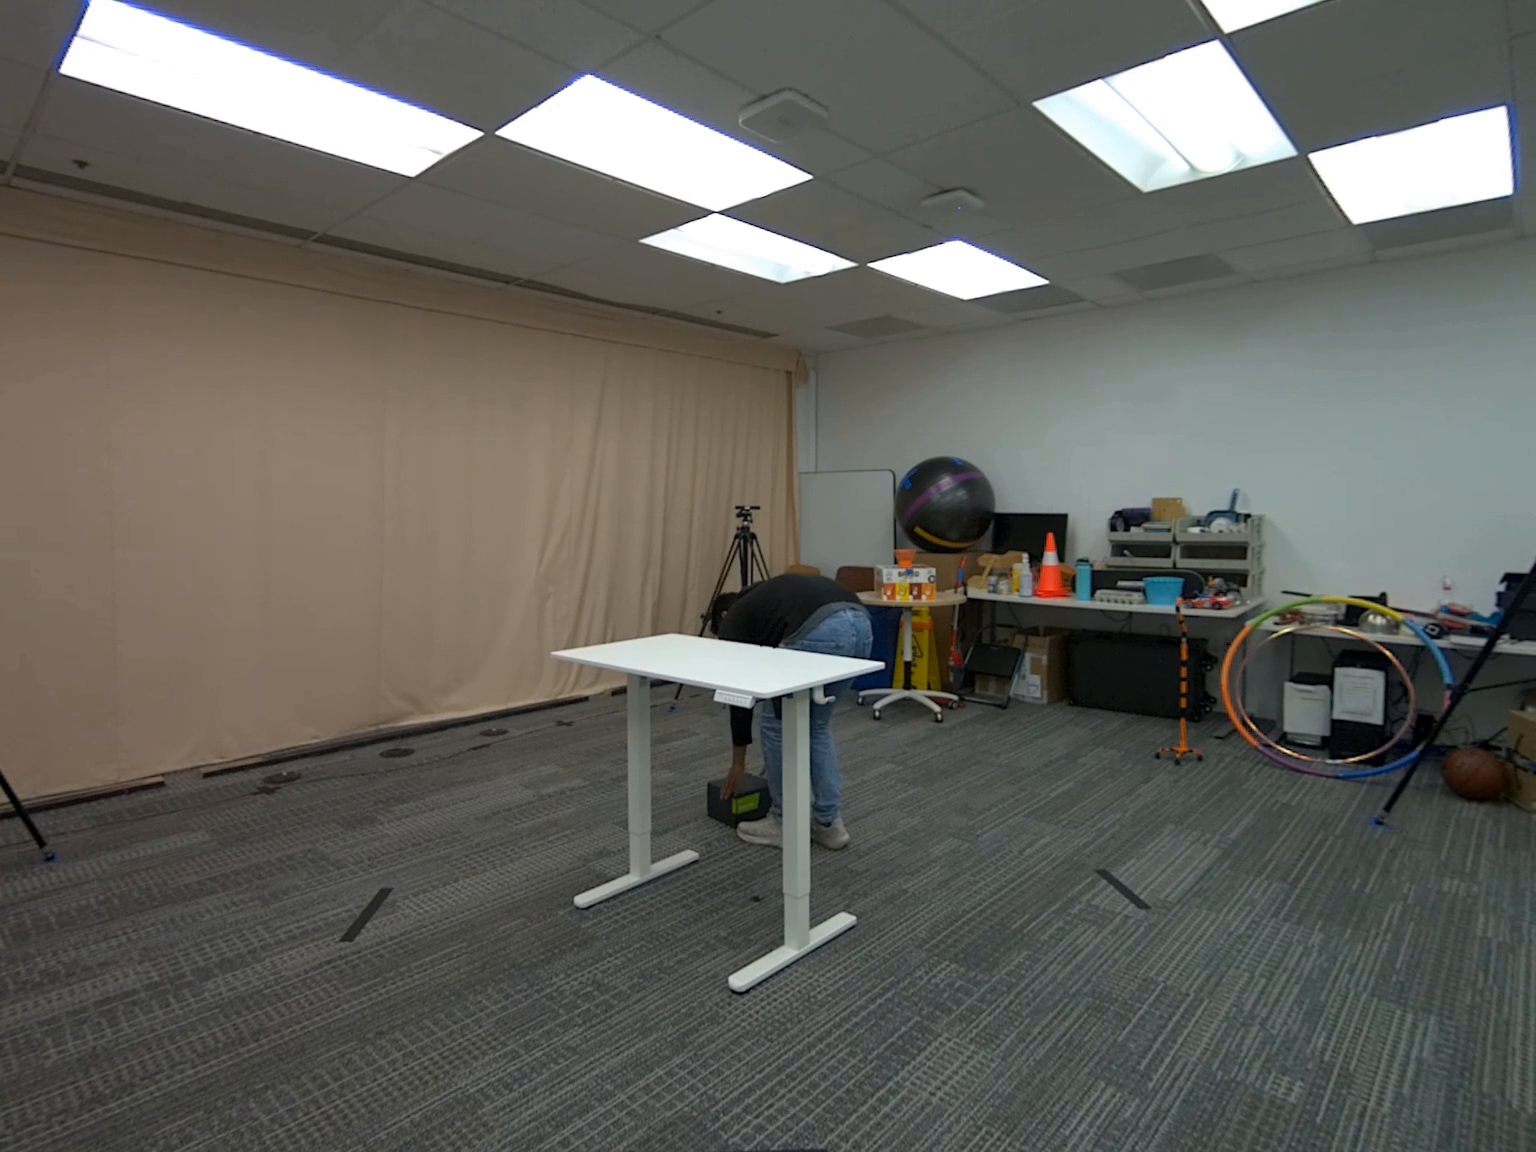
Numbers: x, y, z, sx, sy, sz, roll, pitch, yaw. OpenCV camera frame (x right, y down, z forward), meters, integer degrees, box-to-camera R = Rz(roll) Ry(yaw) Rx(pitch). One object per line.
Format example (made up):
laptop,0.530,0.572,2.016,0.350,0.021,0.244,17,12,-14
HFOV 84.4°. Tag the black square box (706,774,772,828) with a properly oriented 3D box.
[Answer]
black square box,-0.118,0.995,3.759,0.221,0.155,0.224,-3,4,-39
